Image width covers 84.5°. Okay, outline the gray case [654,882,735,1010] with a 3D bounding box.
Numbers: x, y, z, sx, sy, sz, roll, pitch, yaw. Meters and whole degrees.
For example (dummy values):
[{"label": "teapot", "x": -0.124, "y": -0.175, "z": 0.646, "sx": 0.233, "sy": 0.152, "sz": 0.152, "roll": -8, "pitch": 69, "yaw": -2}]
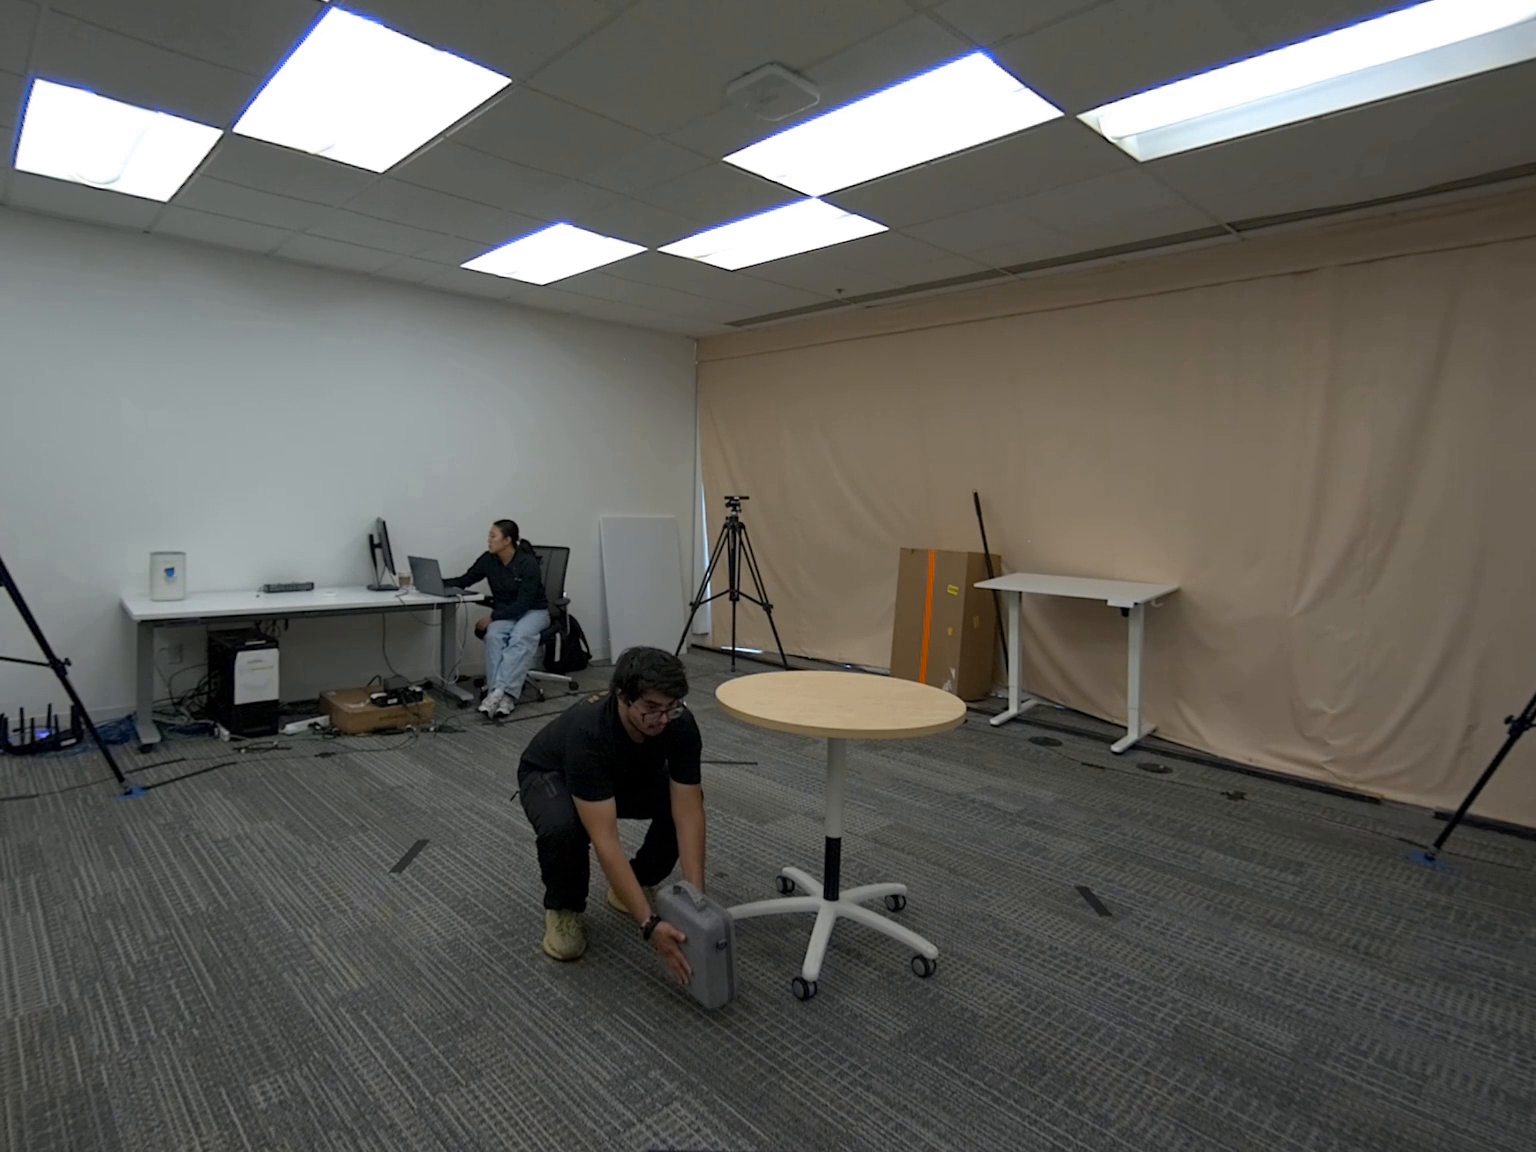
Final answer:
[{"label": "gray case", "x": -0.196, "y": 1.000, "z": 2.263, "sx": 0.102, "sy": 0.259, "sz": 0.264, "roll": -10, "pitch": 12, "yaw": -40}]
